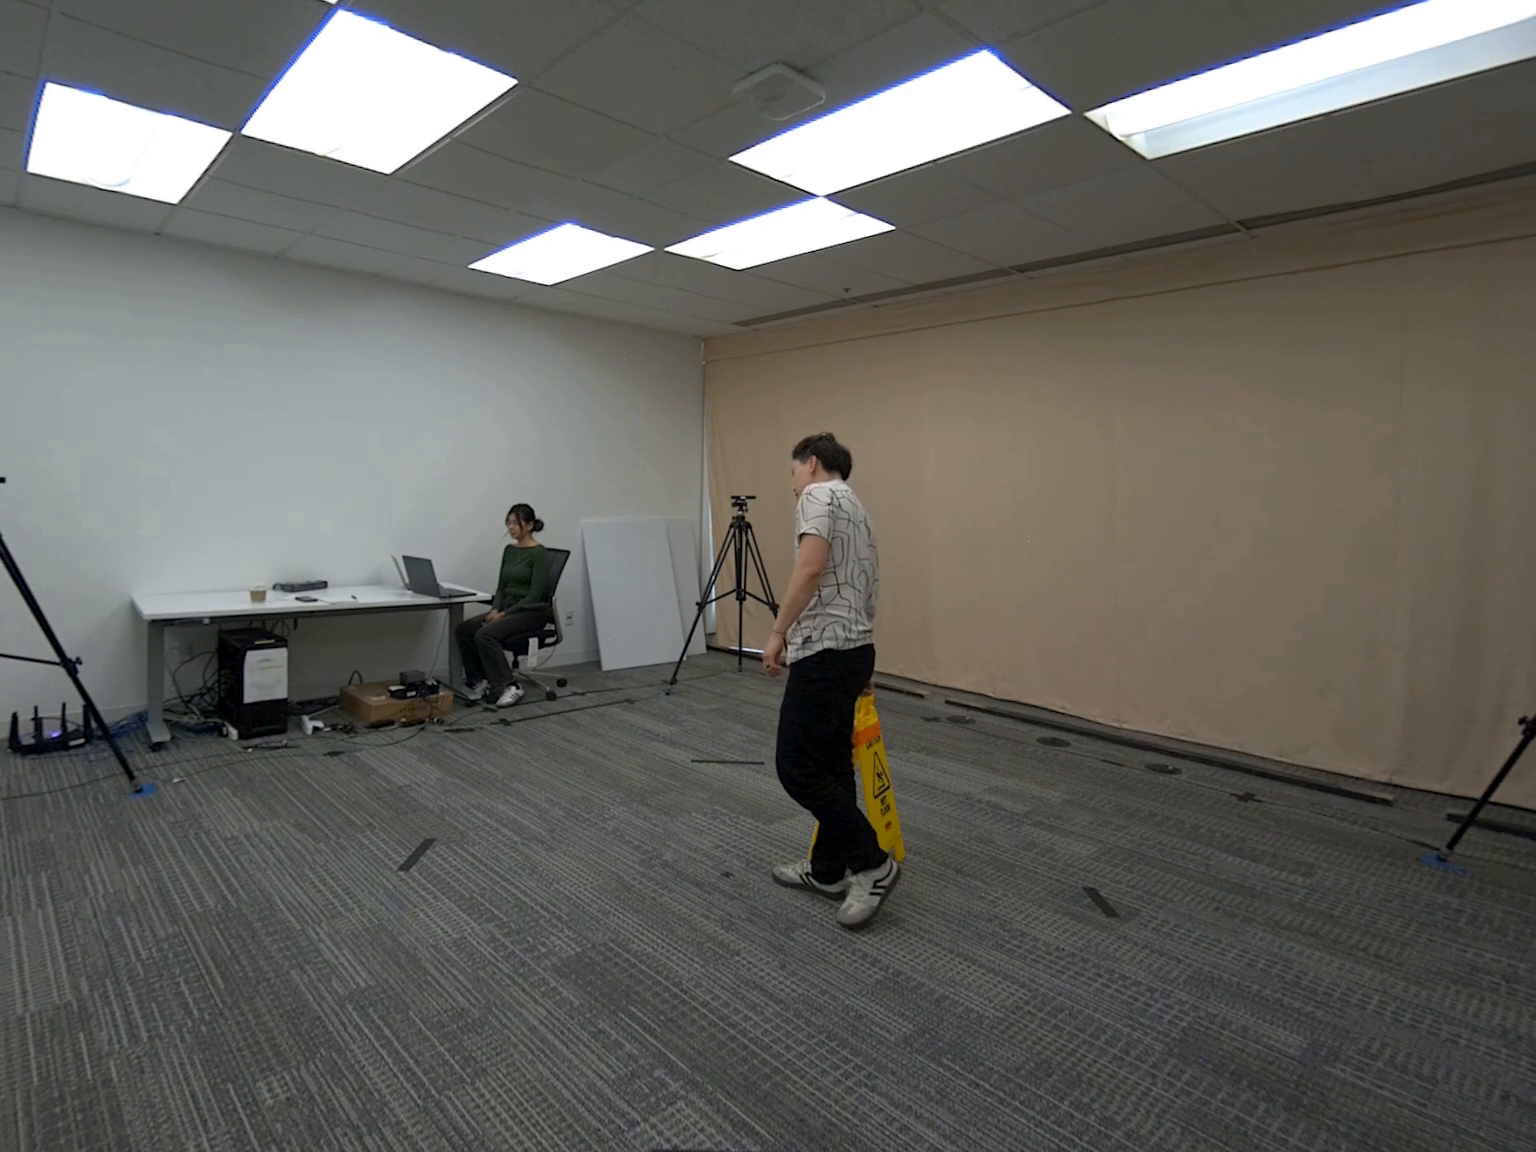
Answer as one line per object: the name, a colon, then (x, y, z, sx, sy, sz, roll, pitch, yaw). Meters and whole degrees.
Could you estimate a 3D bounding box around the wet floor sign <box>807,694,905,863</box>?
wet floor sign: (0.342, 0.777, 3.242, 0.296, 0.645, 0.277, 2, 3, 29)
